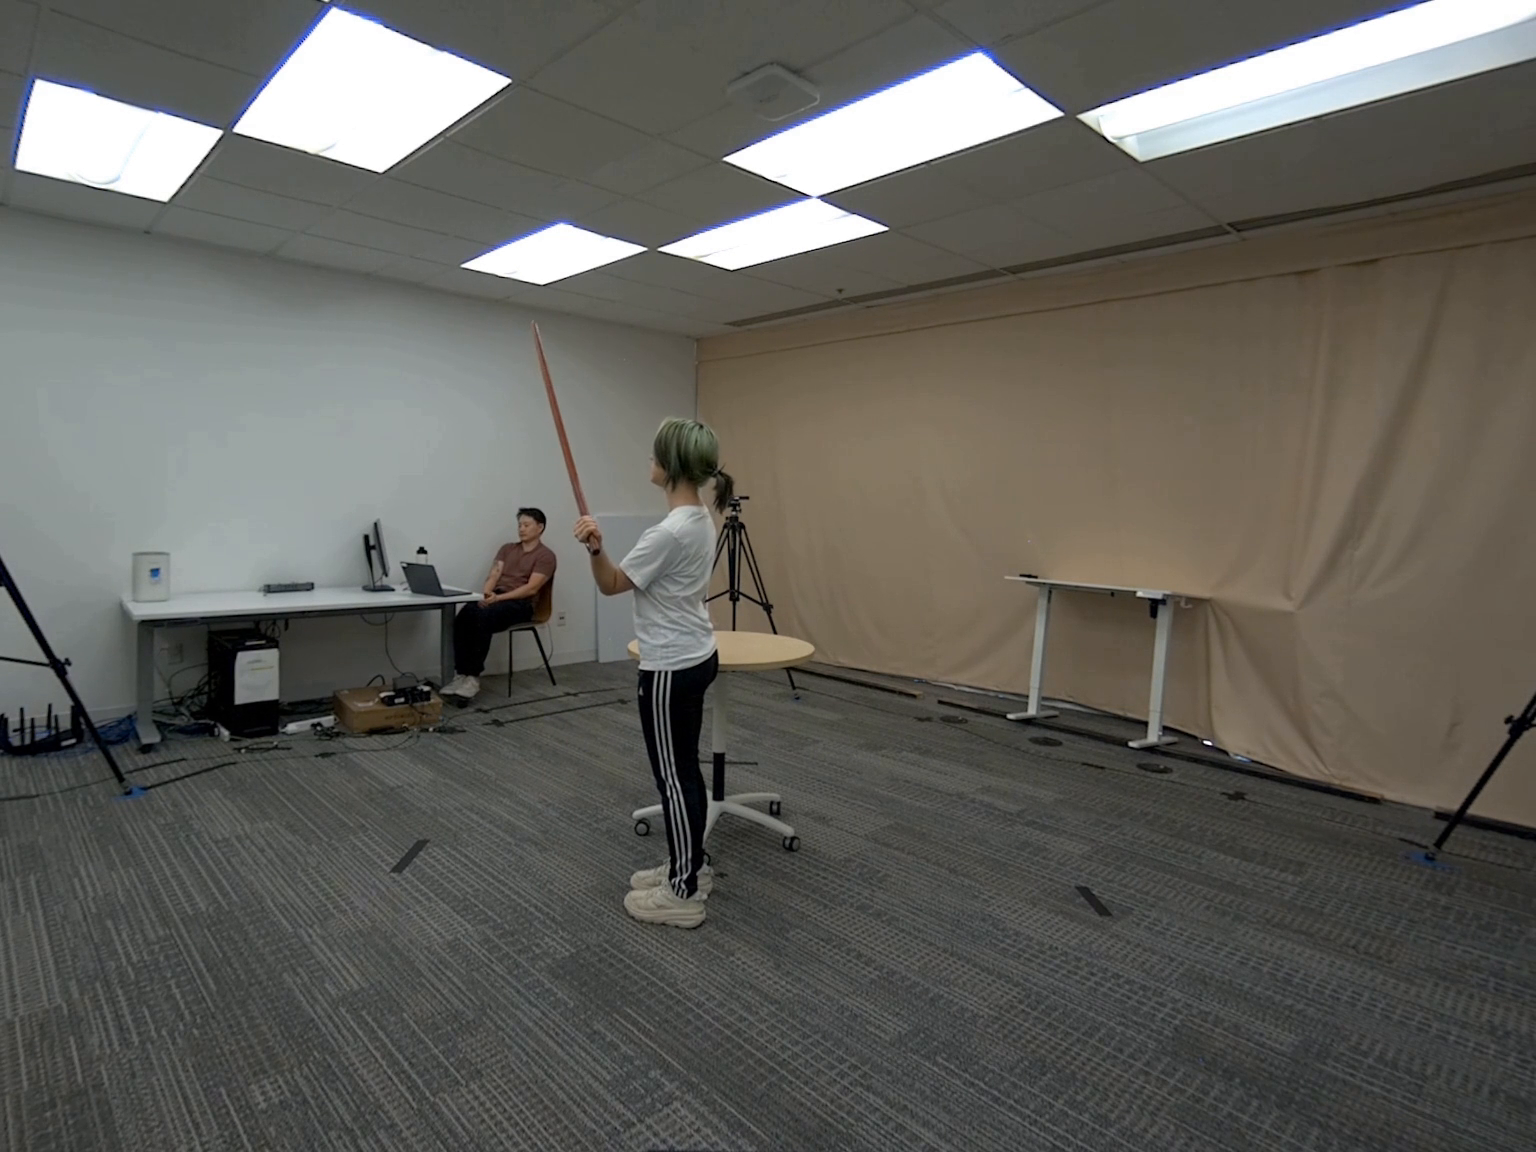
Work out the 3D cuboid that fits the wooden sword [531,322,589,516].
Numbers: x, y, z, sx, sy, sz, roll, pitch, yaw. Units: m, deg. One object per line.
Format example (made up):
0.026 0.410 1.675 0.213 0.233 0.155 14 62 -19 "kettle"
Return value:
-0.687 -0.470 2.746 0.024 1.052 0.051 -4 -36 -25 "wooden sword"
